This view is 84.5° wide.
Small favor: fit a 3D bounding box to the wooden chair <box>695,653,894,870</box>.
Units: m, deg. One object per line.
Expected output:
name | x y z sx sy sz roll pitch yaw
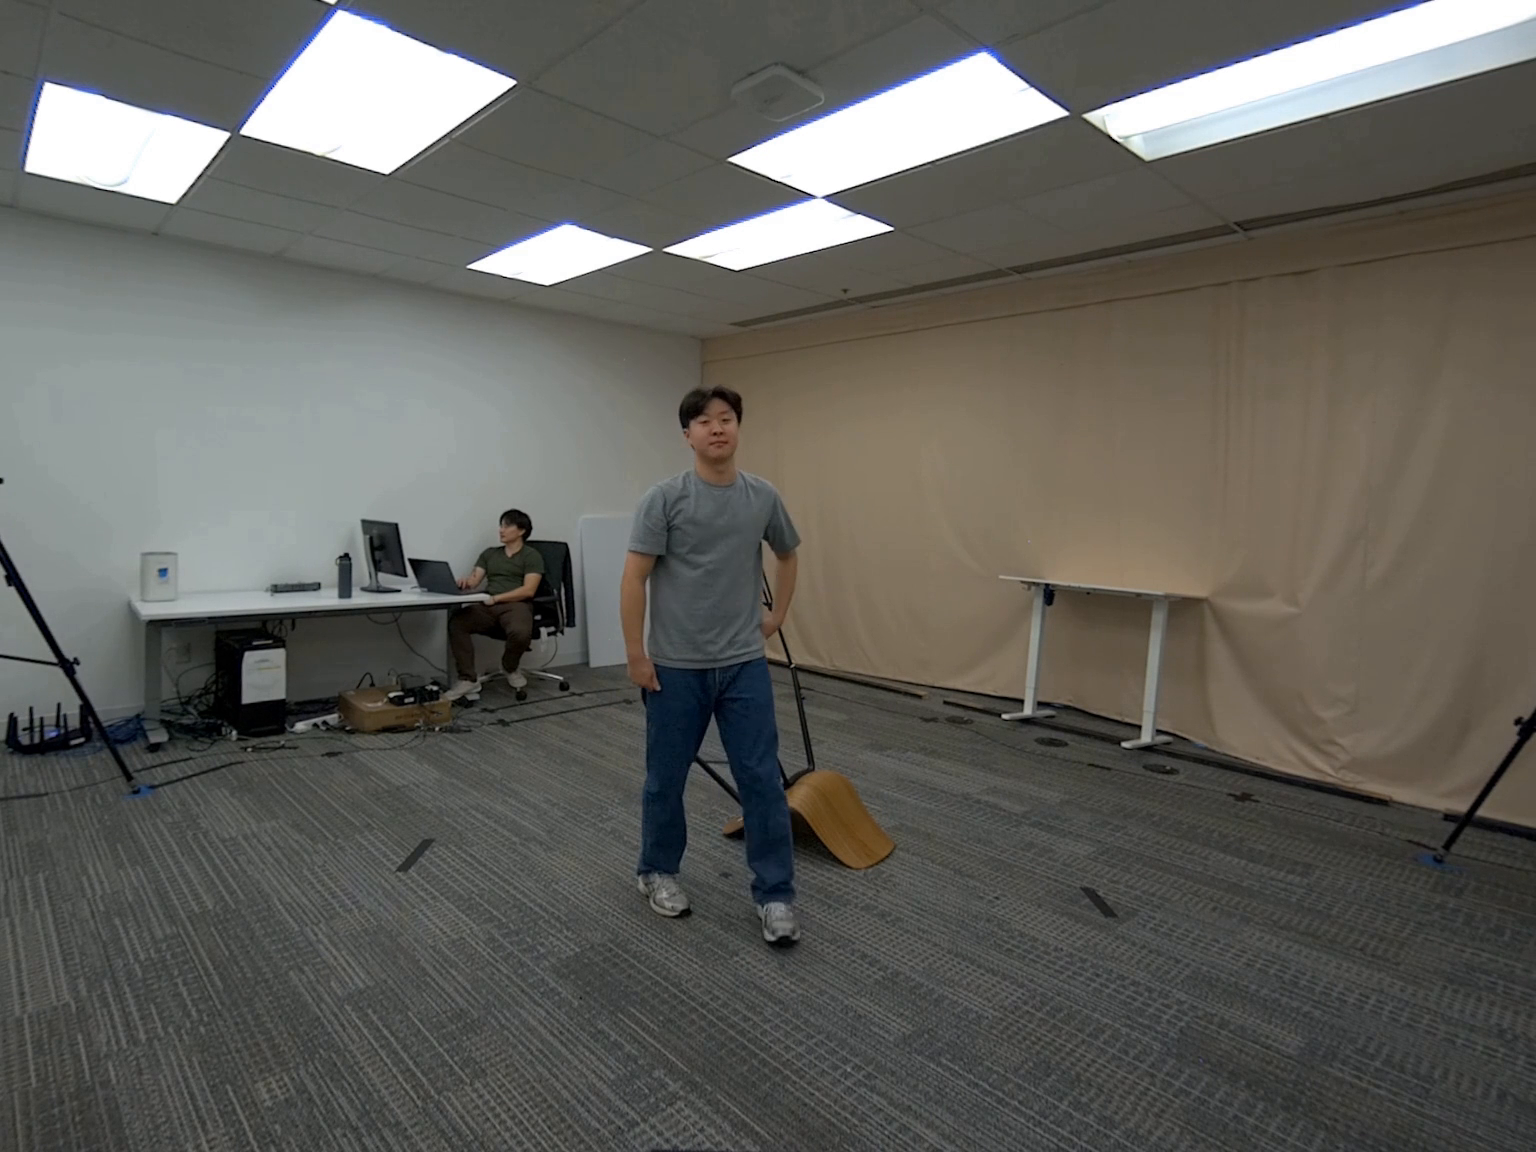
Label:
wooden chair | 0.050 0.901 3.543 0.524 0.893 0.469 -42 -18 25
